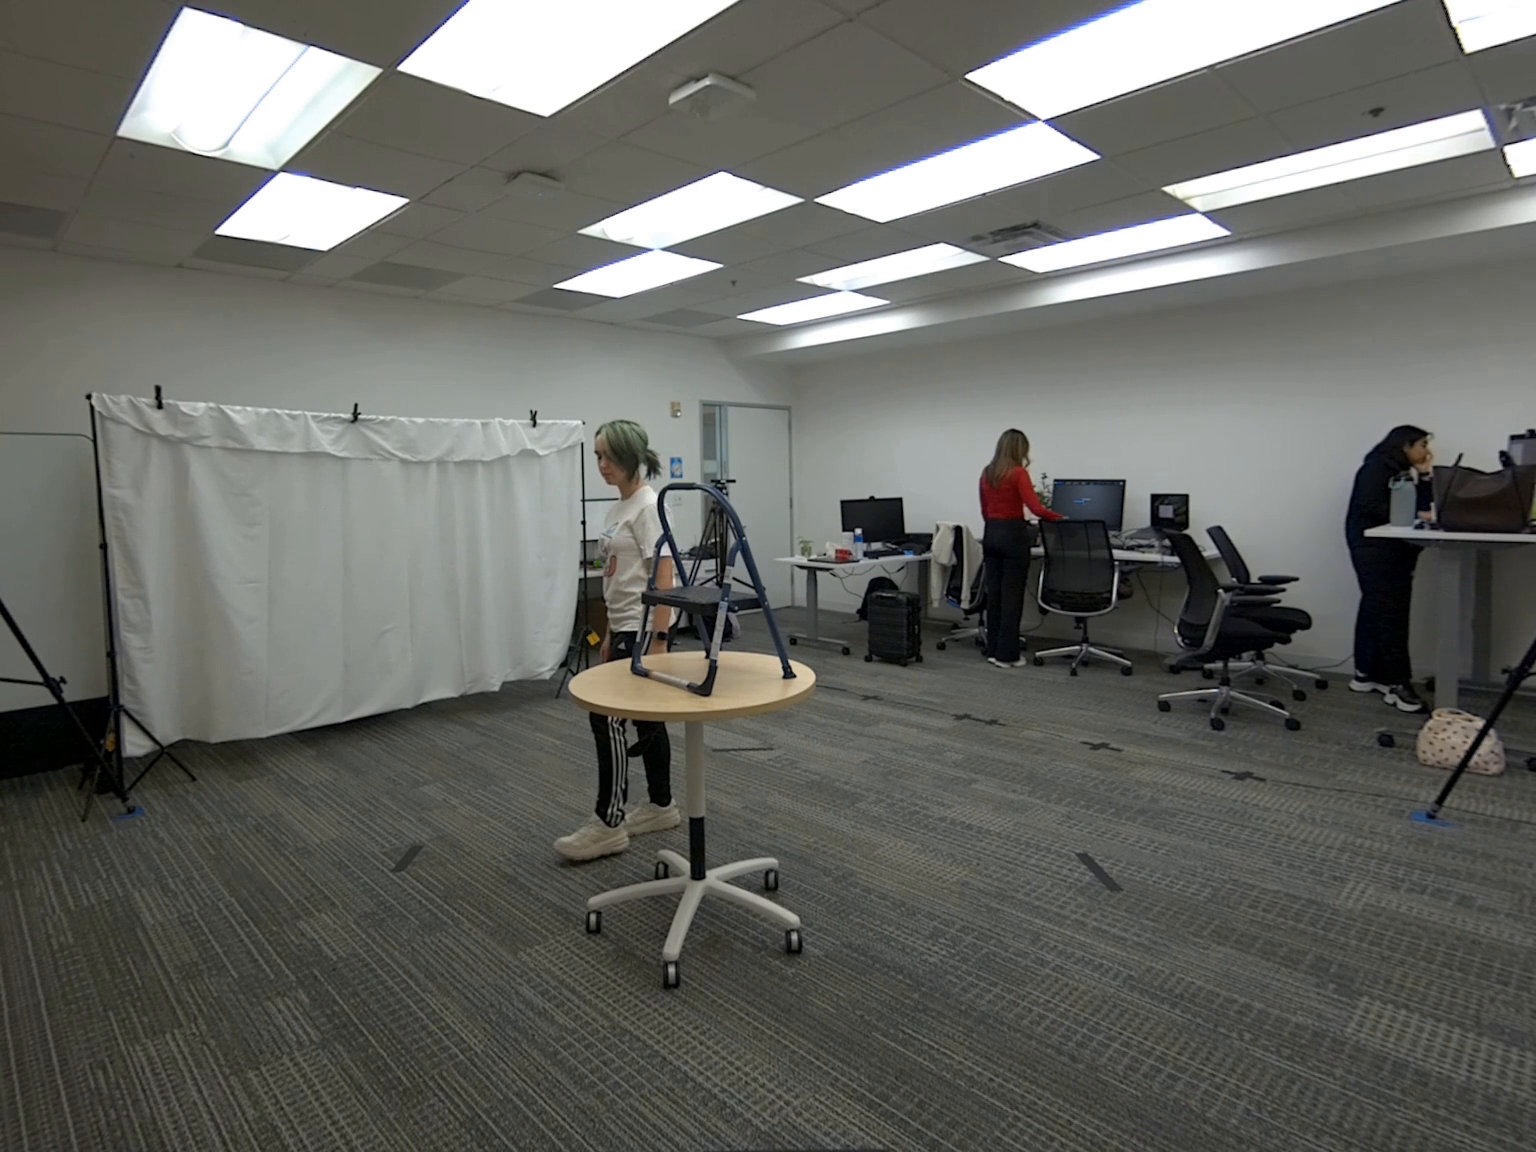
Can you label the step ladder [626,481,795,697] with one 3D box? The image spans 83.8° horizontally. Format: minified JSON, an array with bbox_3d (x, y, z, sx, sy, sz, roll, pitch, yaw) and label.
[{"bbox_3d":[-0.187,0.014,2.668,0.340,0.604,0.444,-5,6,-40],"label":"step ladder"}]
